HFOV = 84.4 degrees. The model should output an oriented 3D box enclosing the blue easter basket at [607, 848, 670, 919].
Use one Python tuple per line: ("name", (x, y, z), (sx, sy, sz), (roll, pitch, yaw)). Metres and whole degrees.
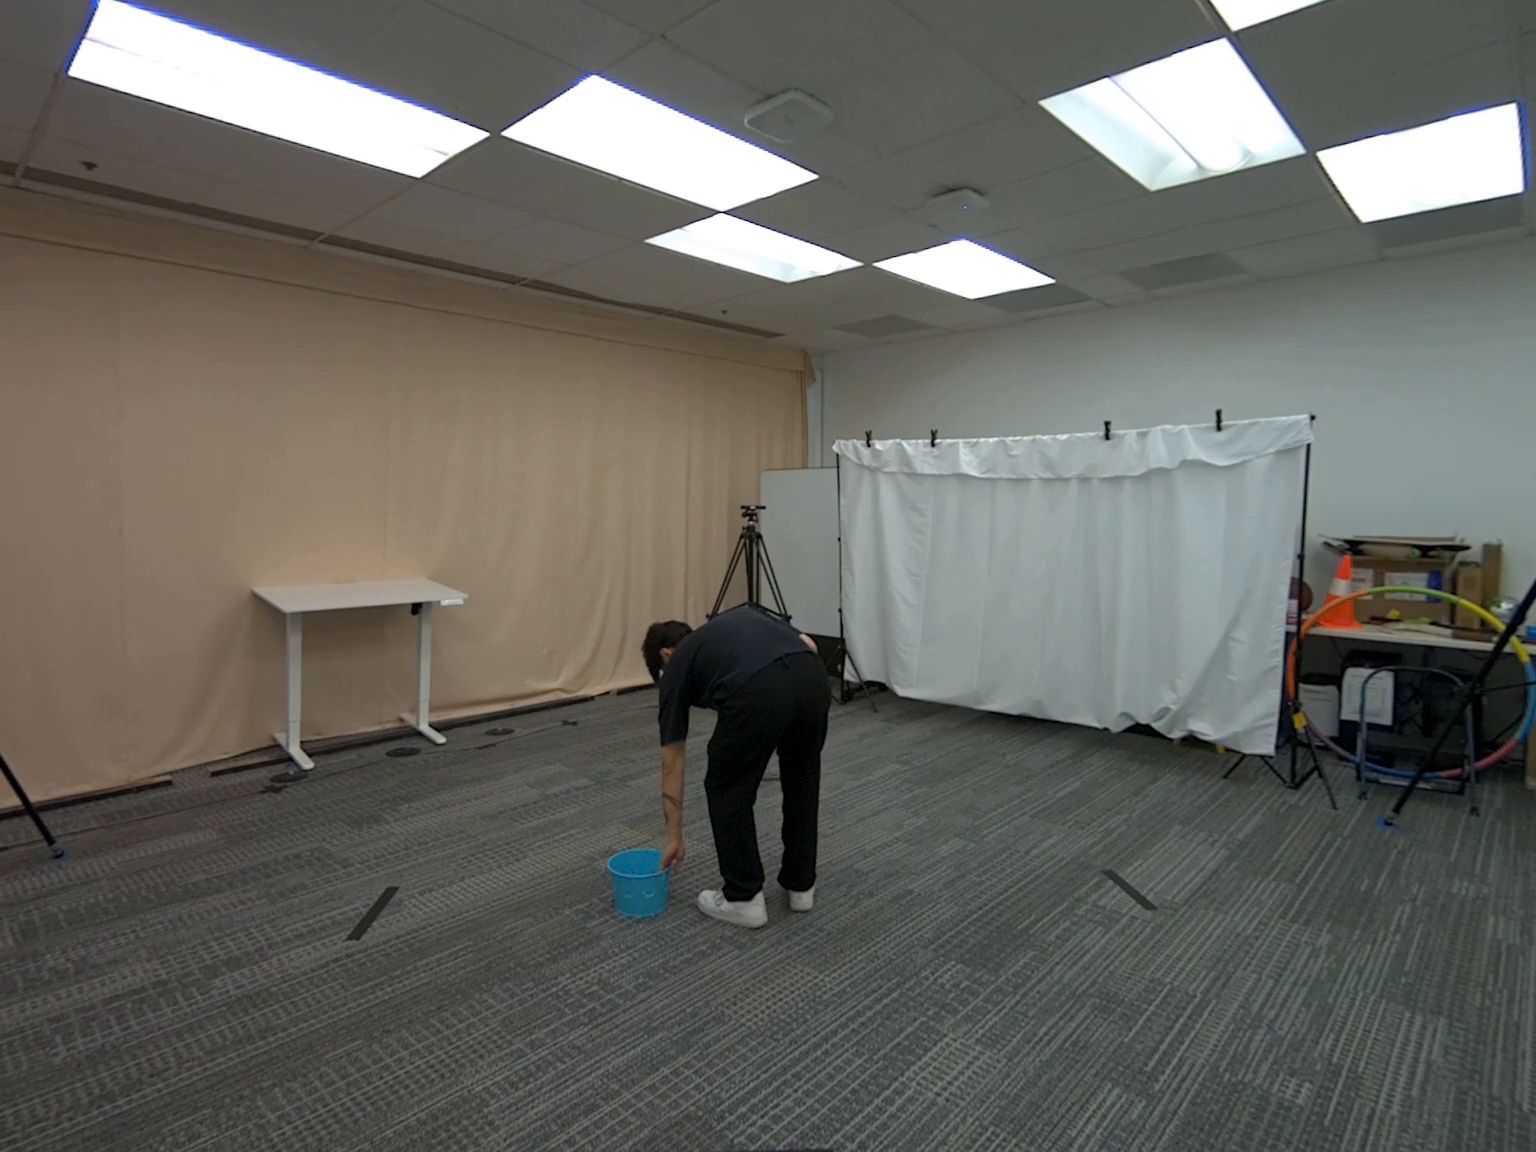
("blue easter basket", (-0.449, 1.076, 2.937), (0.243, 0.155, 0.244), (-1, 5, -2))
